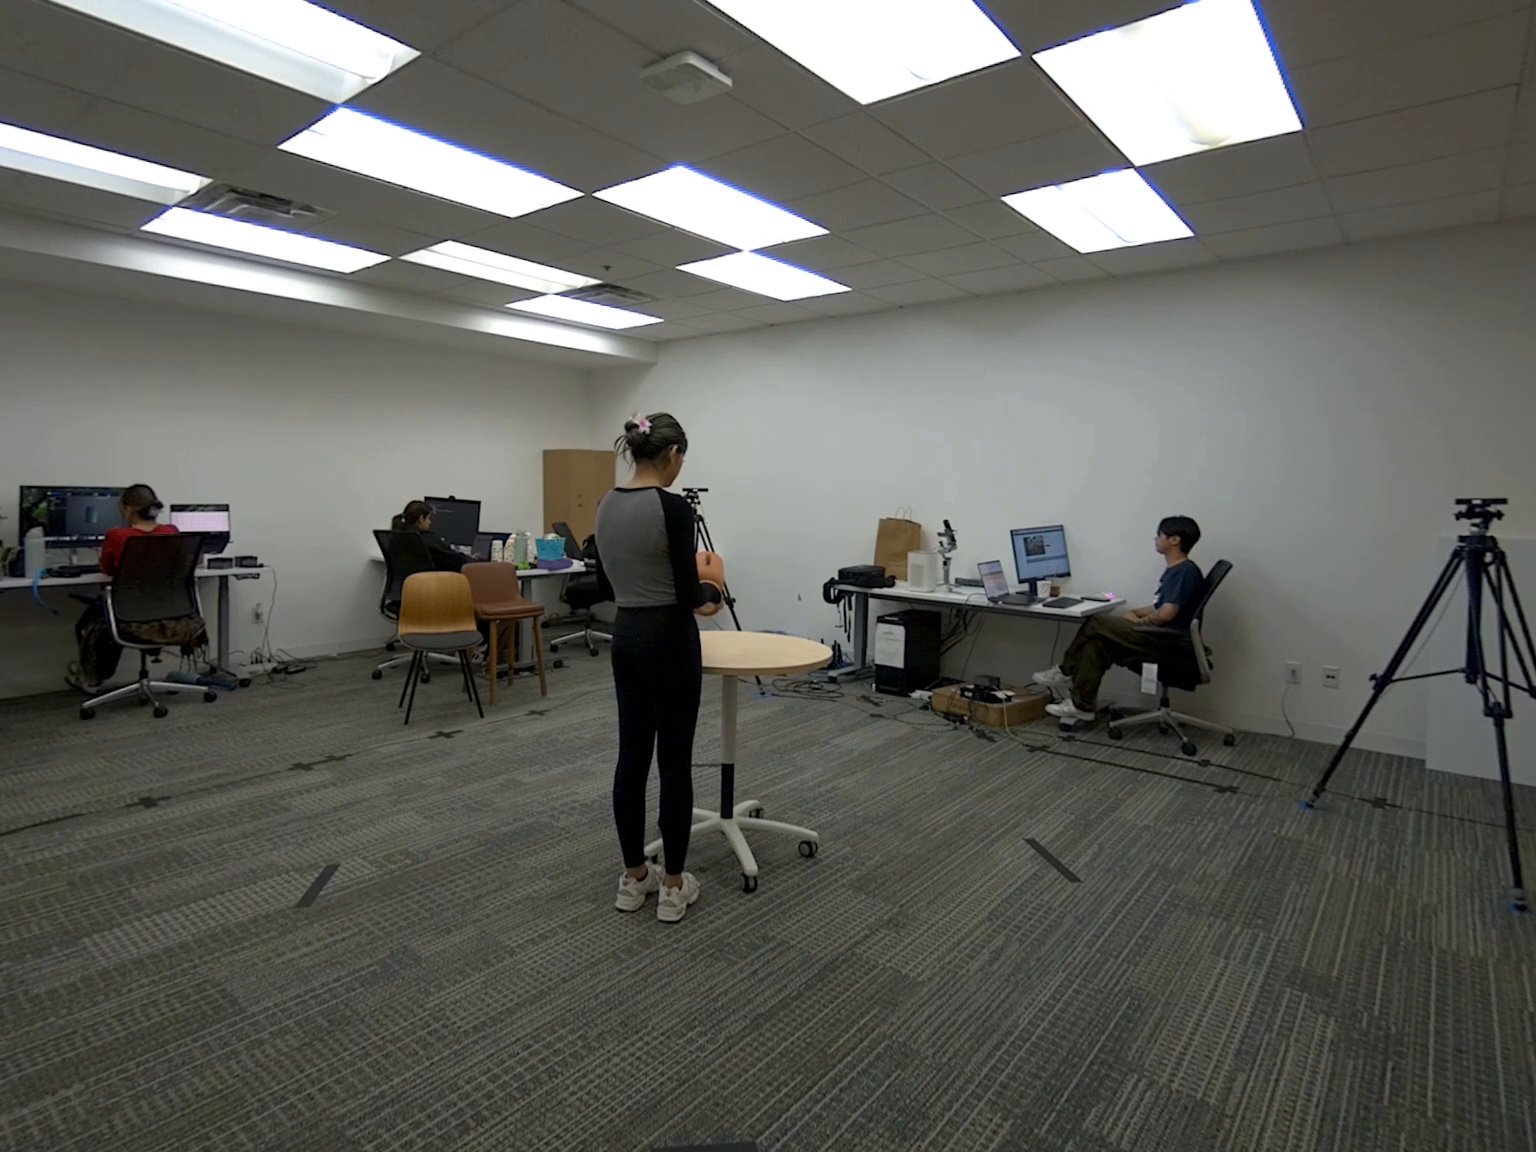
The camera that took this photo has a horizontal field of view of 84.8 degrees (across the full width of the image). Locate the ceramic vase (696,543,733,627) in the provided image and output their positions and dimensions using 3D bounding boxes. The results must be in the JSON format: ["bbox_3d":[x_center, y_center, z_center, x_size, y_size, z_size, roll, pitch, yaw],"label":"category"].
[{"bbox_3d":[-0.232,0.030,3.057,0.136,0.226,0.152,-26,-51,19],"label":"ceramic vase"}]
